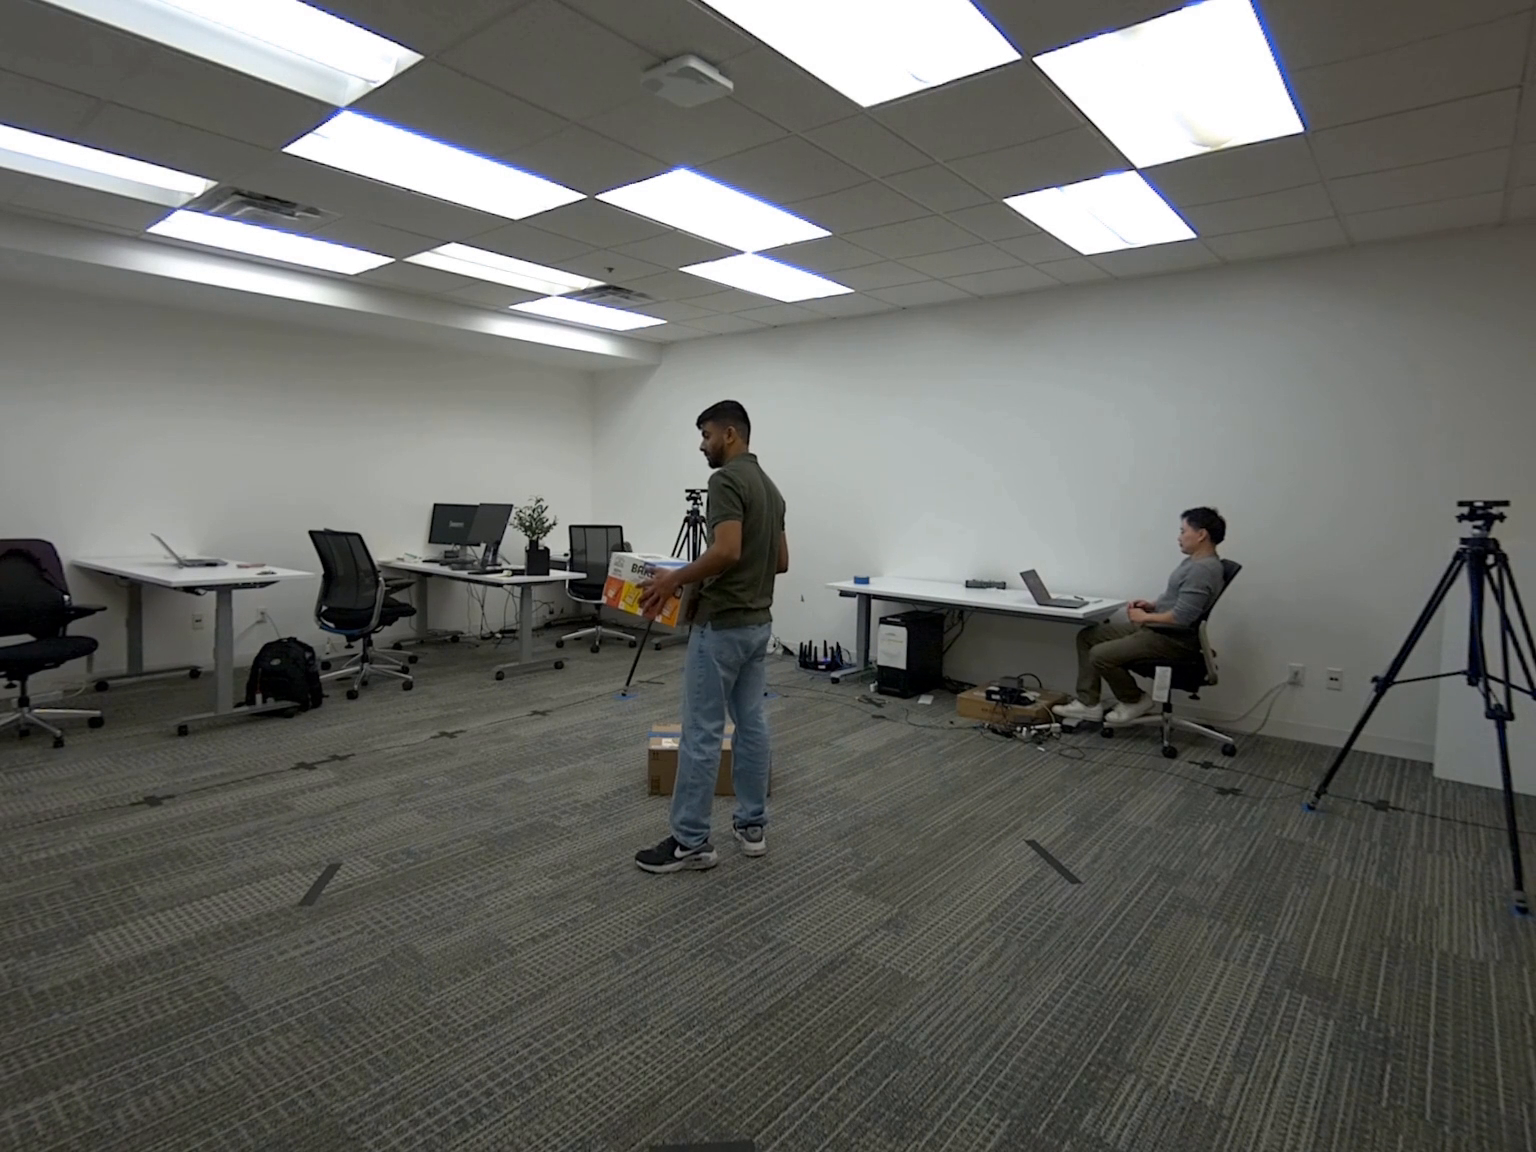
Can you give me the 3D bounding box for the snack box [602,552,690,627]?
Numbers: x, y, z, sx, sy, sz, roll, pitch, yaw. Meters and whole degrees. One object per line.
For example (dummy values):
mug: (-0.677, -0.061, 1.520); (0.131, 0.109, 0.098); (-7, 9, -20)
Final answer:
snack box: (-0.415, 0.041, 3.384); (0.350, 0.205, 0.395); (16, 6, 23)
